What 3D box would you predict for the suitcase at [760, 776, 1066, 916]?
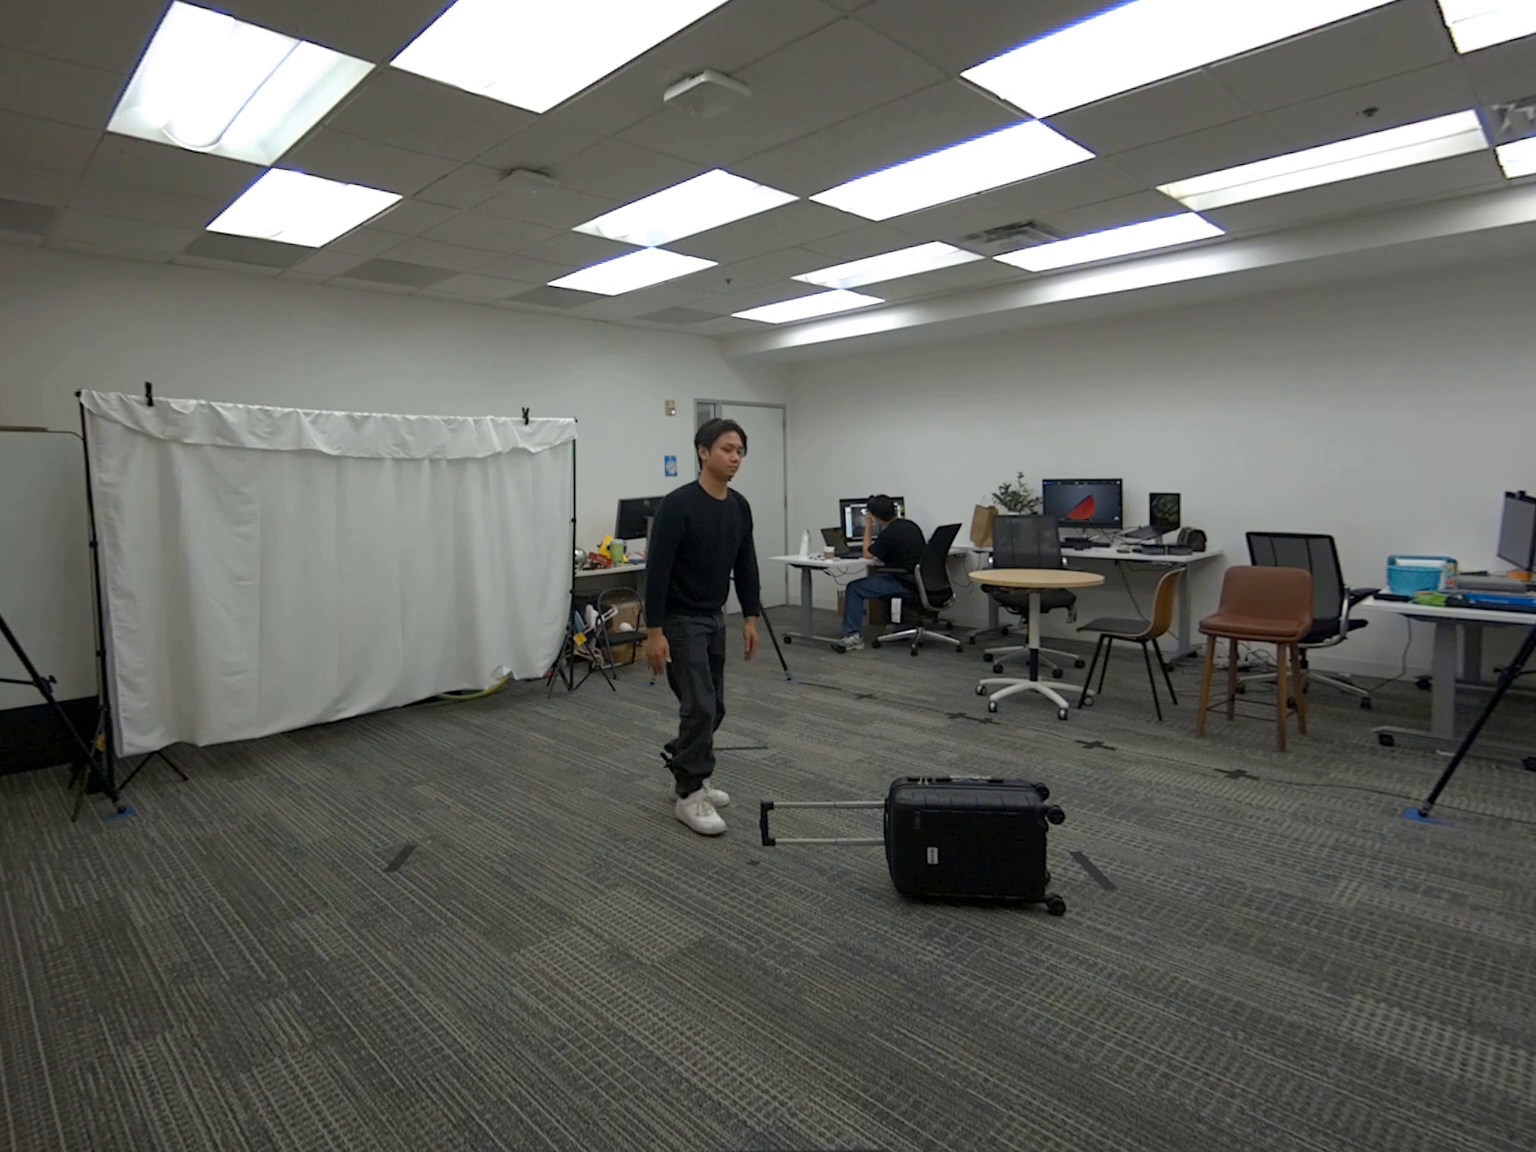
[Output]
[{"bbox_3d":[0.463,0.872,2.864,0.985,0.383,0.256,-1,4,7],"label":"suitcase"}]
